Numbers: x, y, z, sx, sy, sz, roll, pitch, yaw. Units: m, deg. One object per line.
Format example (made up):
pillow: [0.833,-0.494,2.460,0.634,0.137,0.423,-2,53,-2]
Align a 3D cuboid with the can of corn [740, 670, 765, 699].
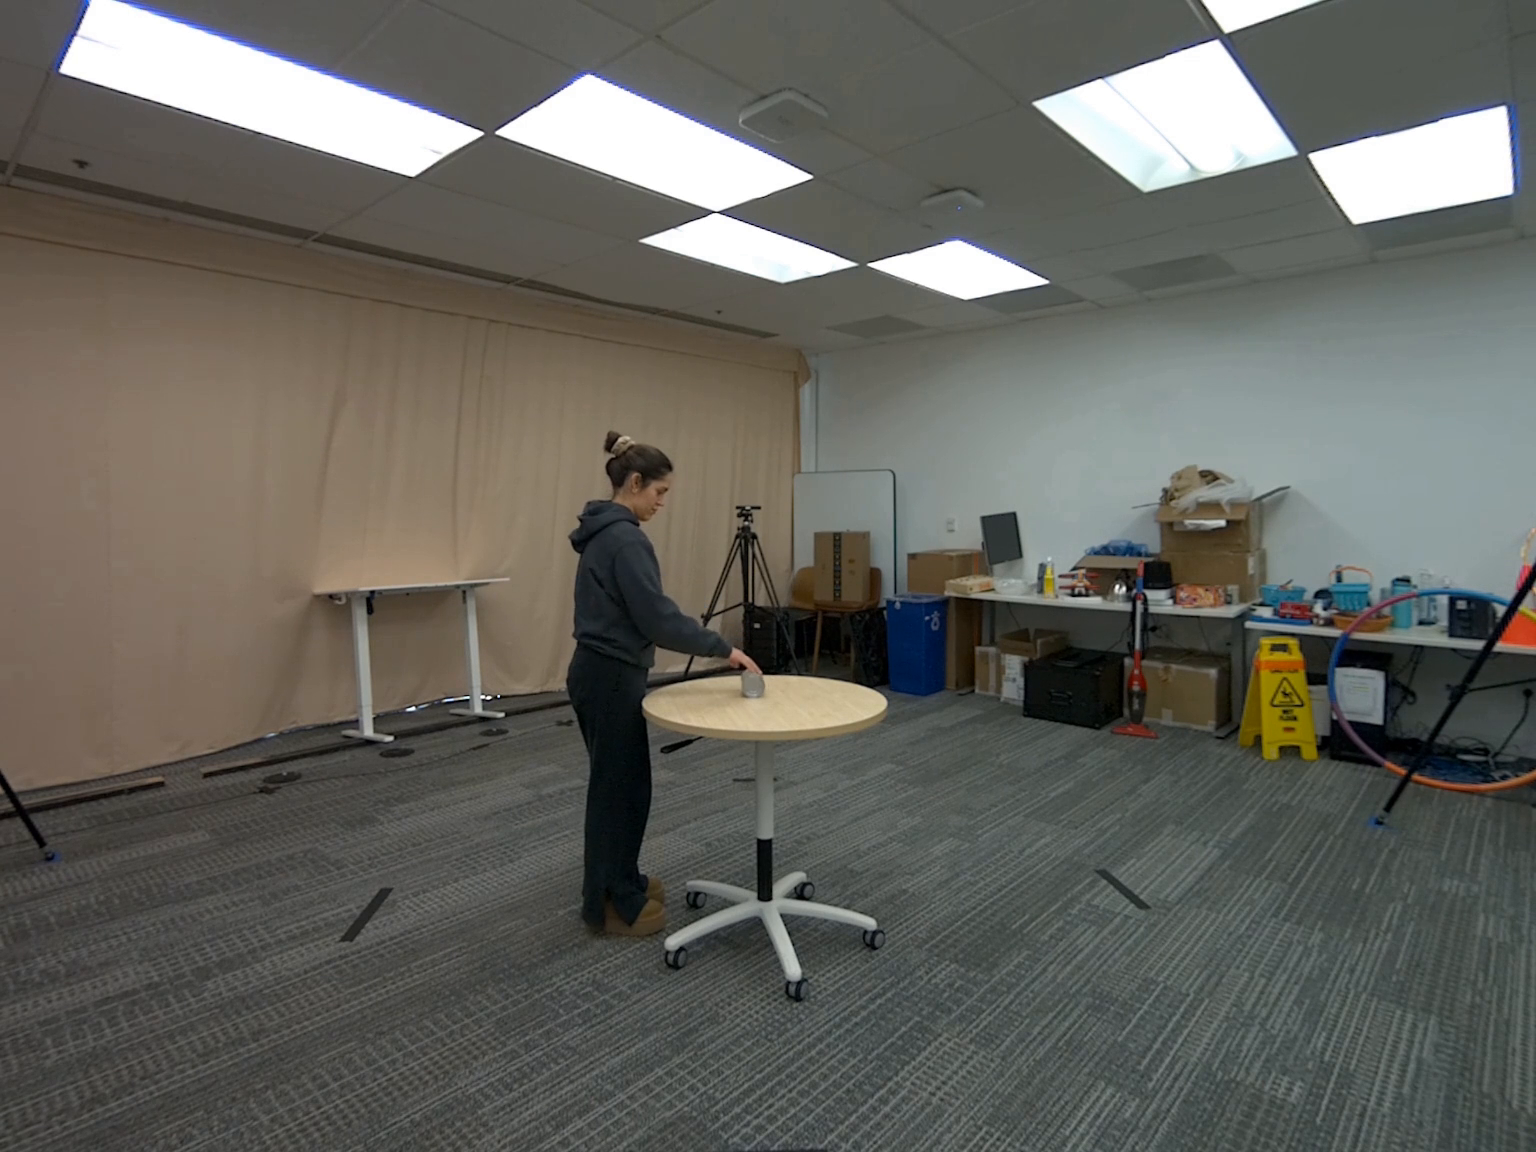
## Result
can of corn: [-0.042,0.348,2.713,0.074,0.074,0.111,0,4,-2]
